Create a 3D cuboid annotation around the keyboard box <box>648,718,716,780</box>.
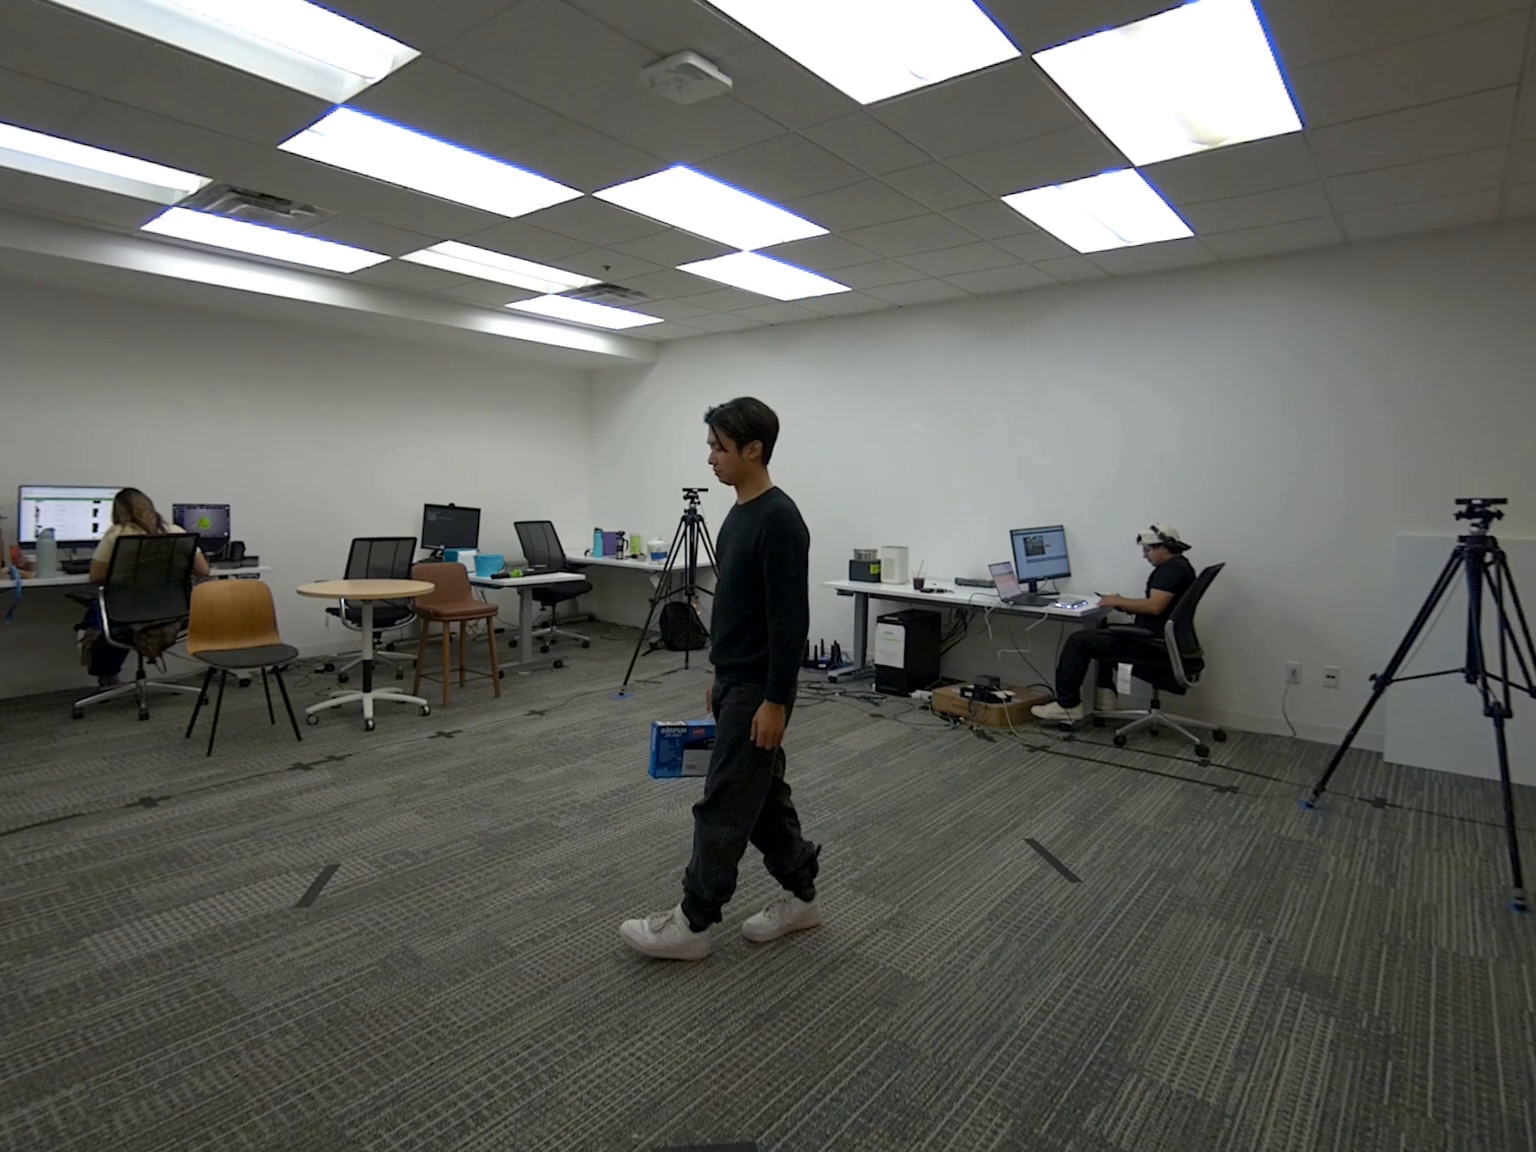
[{"bbox_3d":[-0.182,0.564,2.810,0.427,0.176,0.060,4,1,-21],"label":"keyboard box"}]
